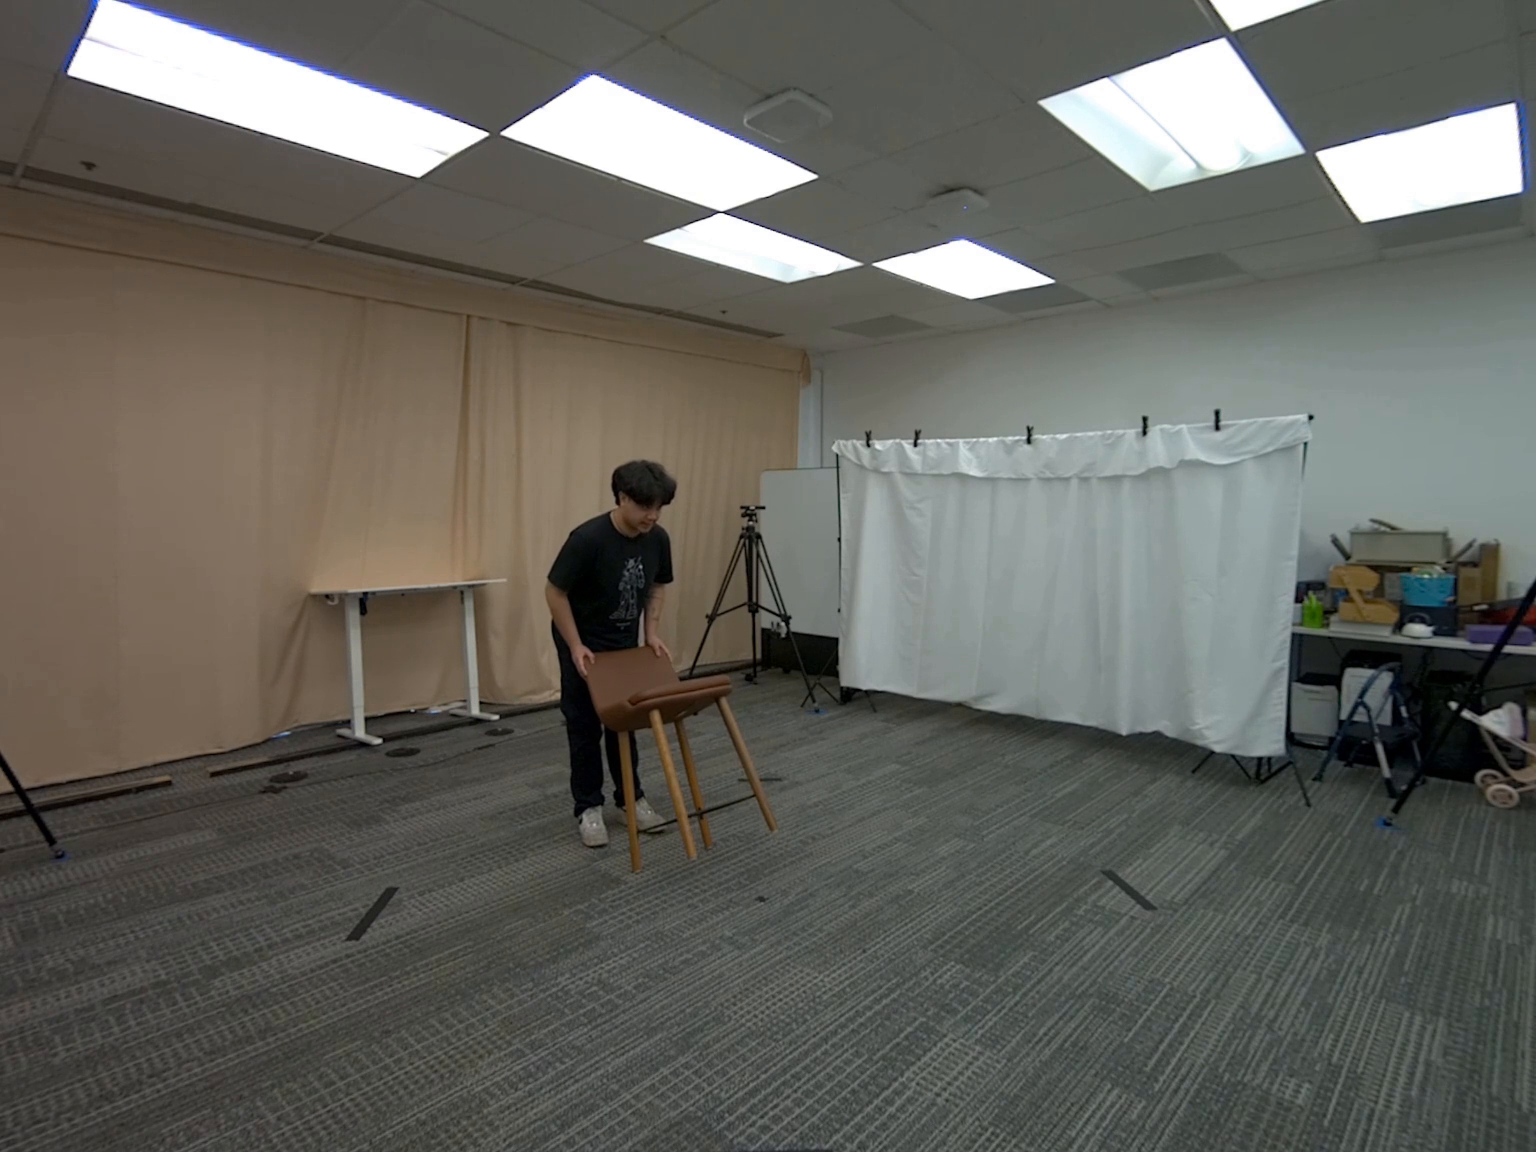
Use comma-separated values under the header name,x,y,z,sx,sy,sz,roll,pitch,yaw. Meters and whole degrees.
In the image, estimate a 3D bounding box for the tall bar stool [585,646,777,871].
name,x,y,z,sx,sy,sz,roll,pitch,yaw
tall bar stool,-0.373,0.637,3.292,0.443,0.904,0.474,-3,-23,-39
